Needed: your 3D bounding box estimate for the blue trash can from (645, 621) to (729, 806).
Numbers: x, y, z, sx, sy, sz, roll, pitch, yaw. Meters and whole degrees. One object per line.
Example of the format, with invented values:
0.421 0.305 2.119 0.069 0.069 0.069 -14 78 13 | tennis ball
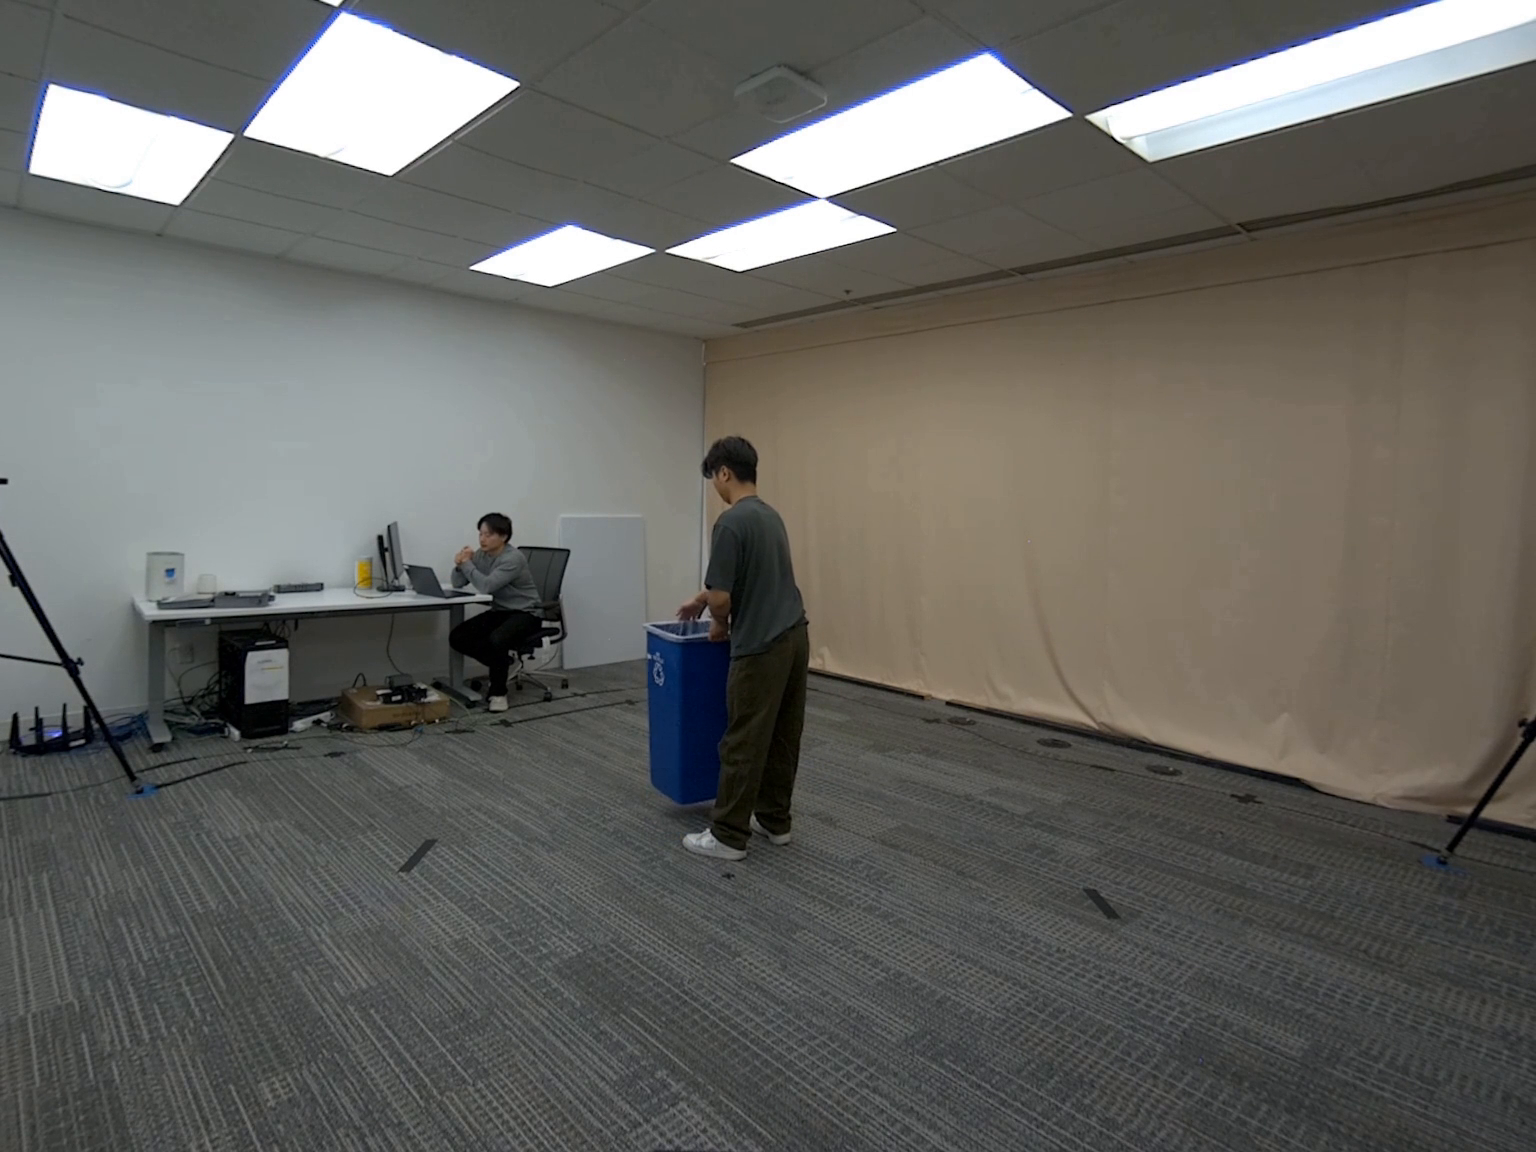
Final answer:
-0.312 0.575 3.650 0.370 0.711 0.383 -2 5 -32 | blue trash can
